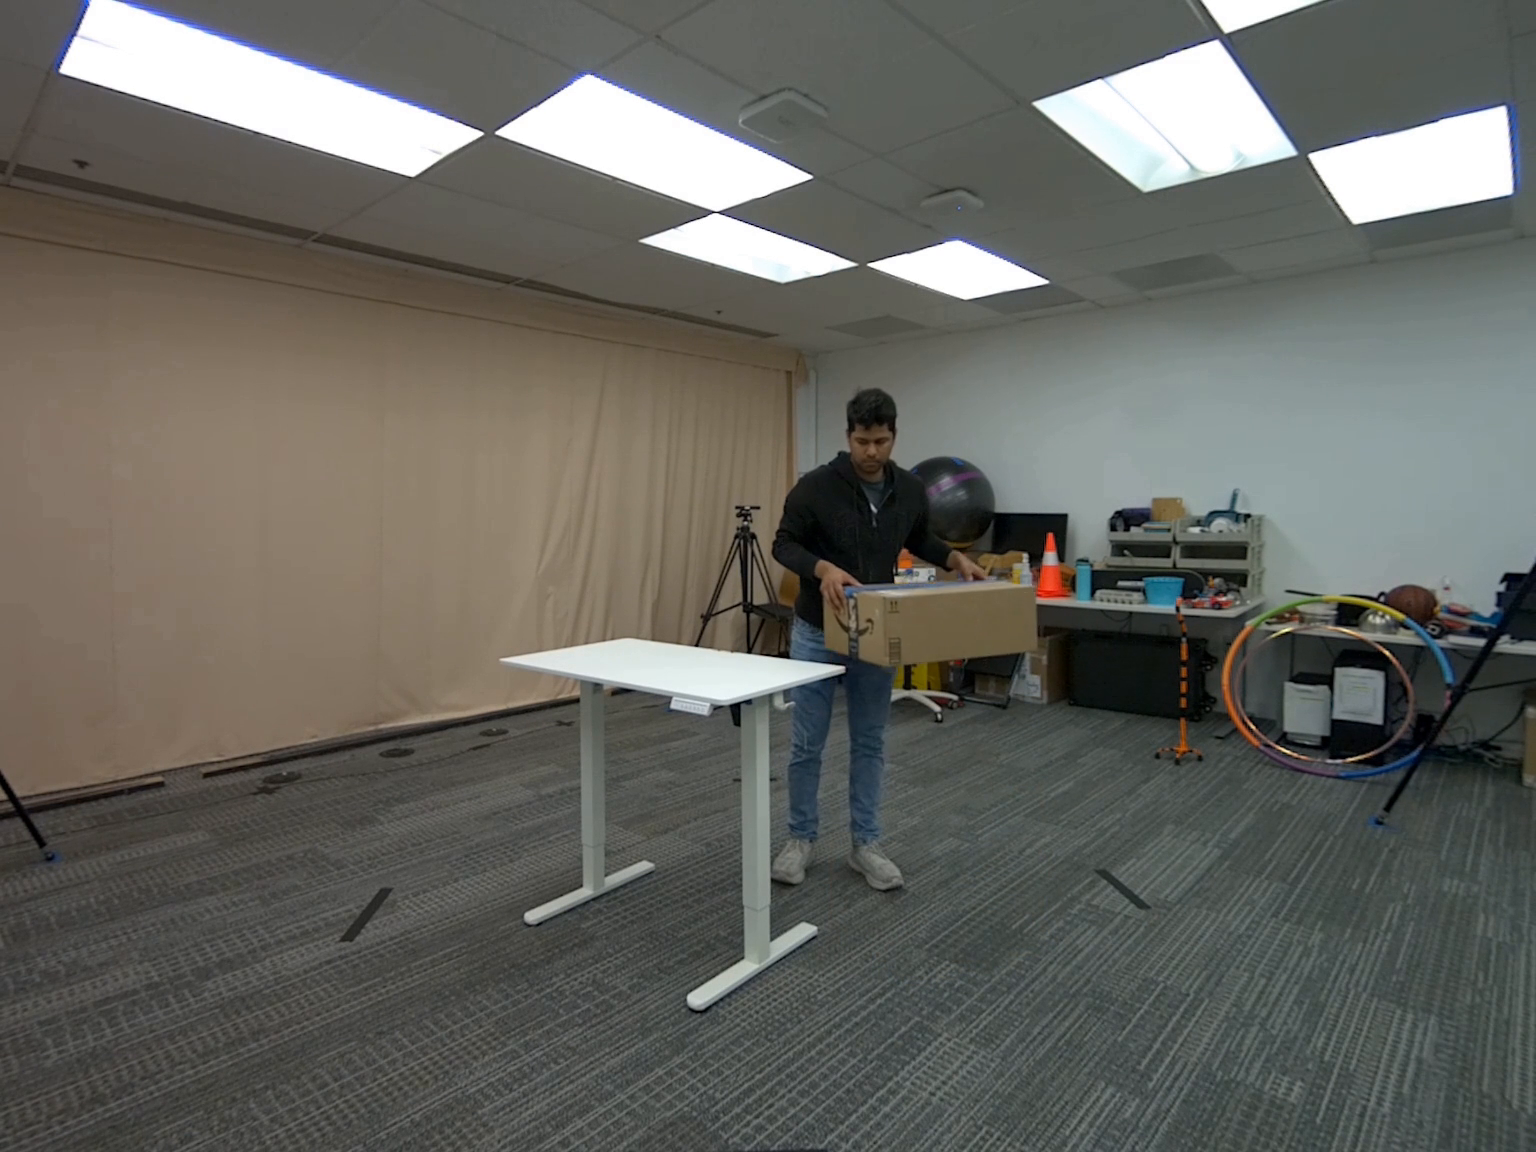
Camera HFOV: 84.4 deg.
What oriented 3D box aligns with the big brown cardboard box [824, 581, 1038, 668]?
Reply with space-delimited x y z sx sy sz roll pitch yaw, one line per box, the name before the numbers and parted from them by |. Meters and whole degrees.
big brown cardboard box | 0.519 0.148 2.822 0.577 0.233 0.426 -2 3 -20
